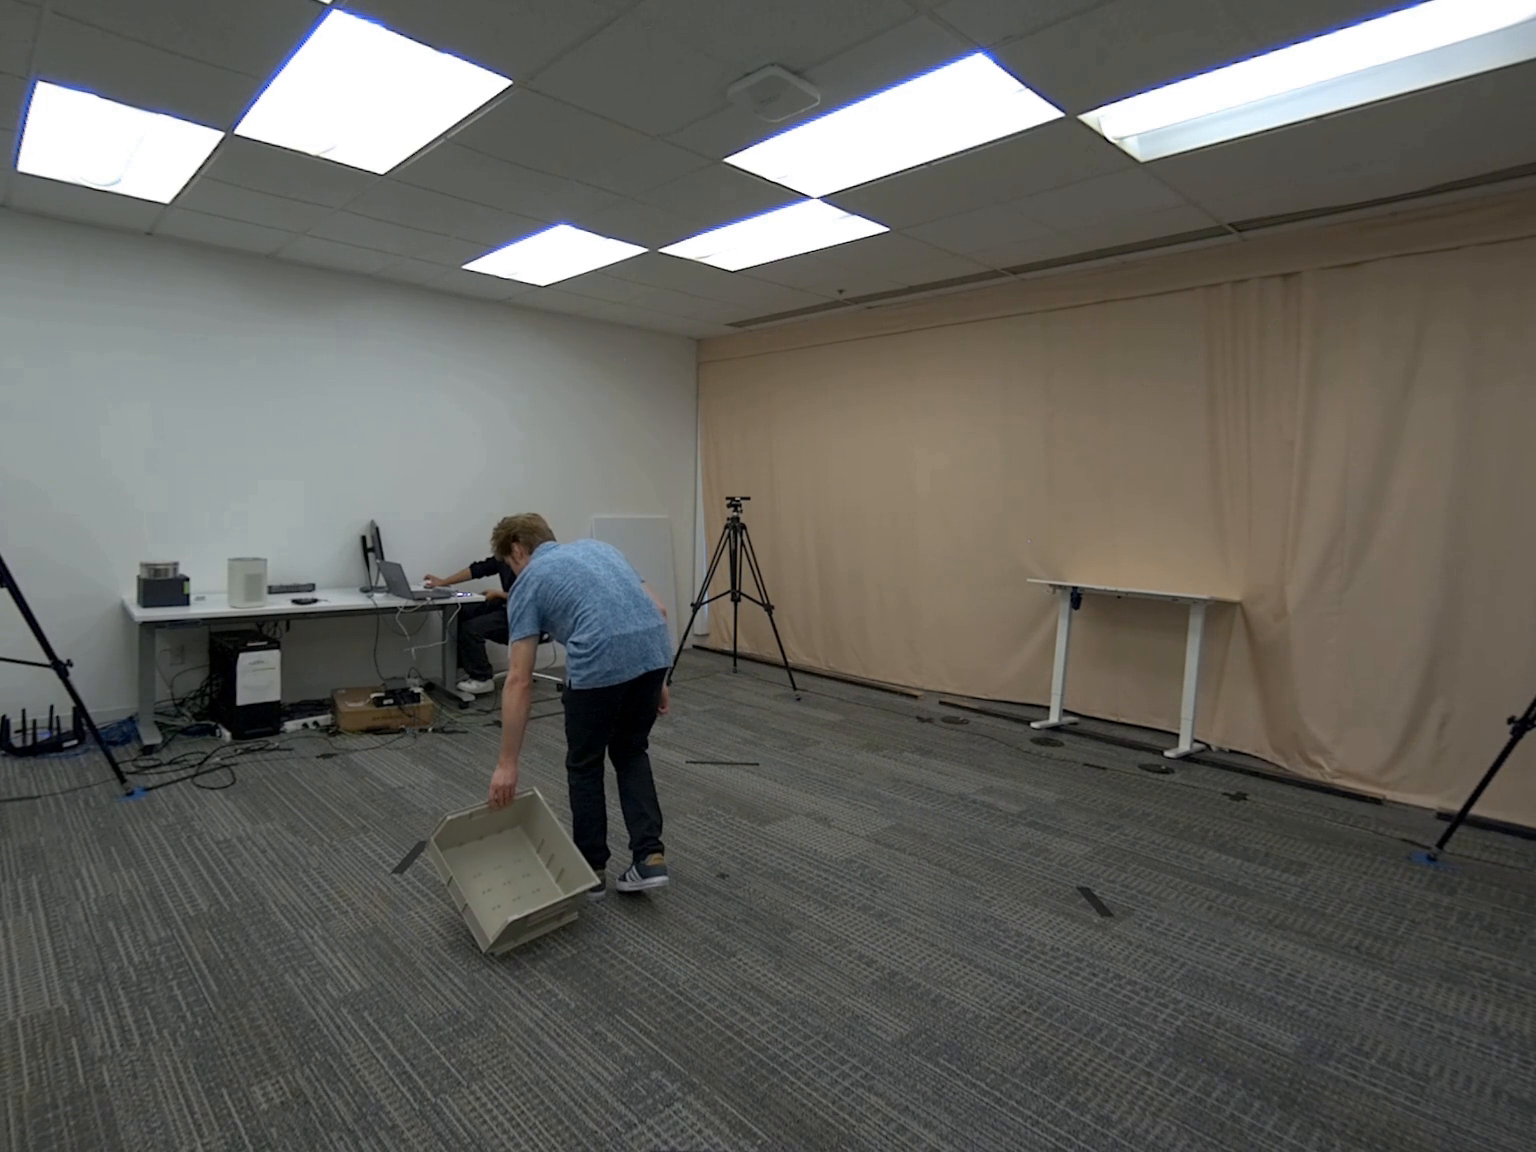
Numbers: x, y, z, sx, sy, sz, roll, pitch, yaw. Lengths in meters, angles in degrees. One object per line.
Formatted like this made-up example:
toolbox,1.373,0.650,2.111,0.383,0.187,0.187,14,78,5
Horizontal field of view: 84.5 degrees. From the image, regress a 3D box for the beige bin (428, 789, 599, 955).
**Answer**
beige bin,-0.834,0.947,2.701,0.434,0.188,0.369,41,27,30
